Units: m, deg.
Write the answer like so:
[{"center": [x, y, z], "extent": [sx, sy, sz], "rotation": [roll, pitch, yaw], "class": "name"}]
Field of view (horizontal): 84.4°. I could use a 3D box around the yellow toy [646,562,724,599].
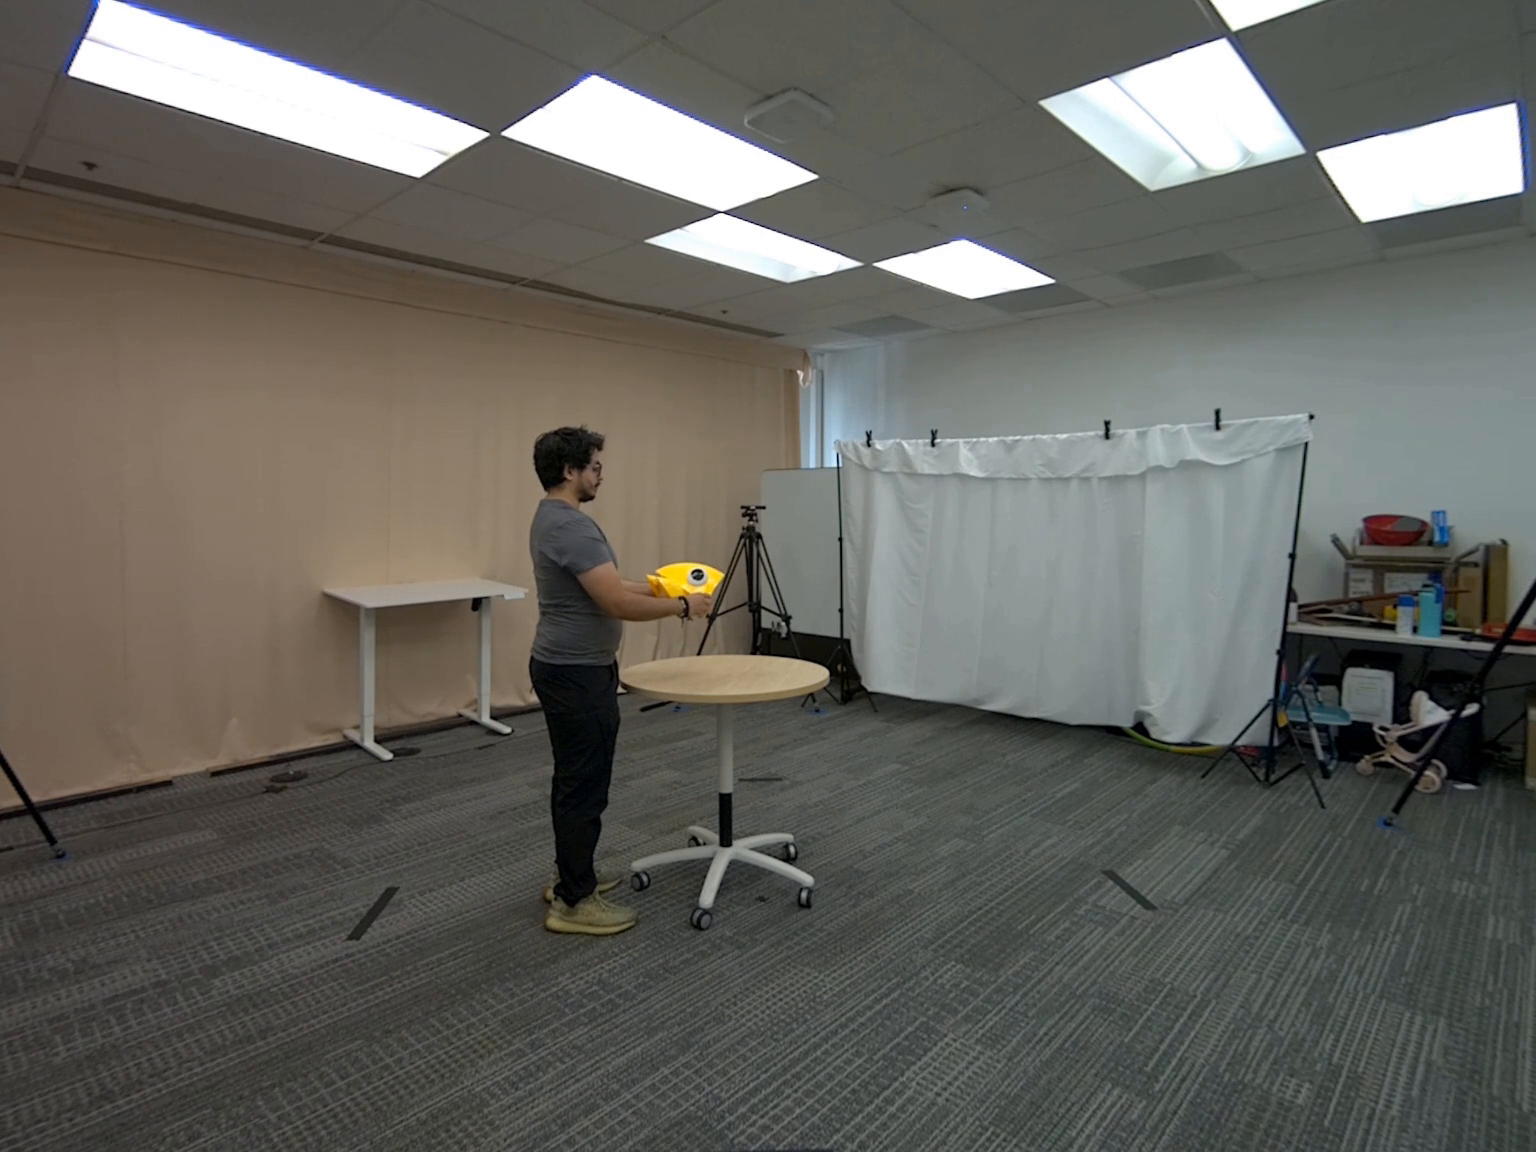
[{"center": [-0.276, 0.012, 2.993], "extent": [0.229, 0.190, 0.209], "rotation": [-35, 13, -16], "class": "yellow toy"}]
